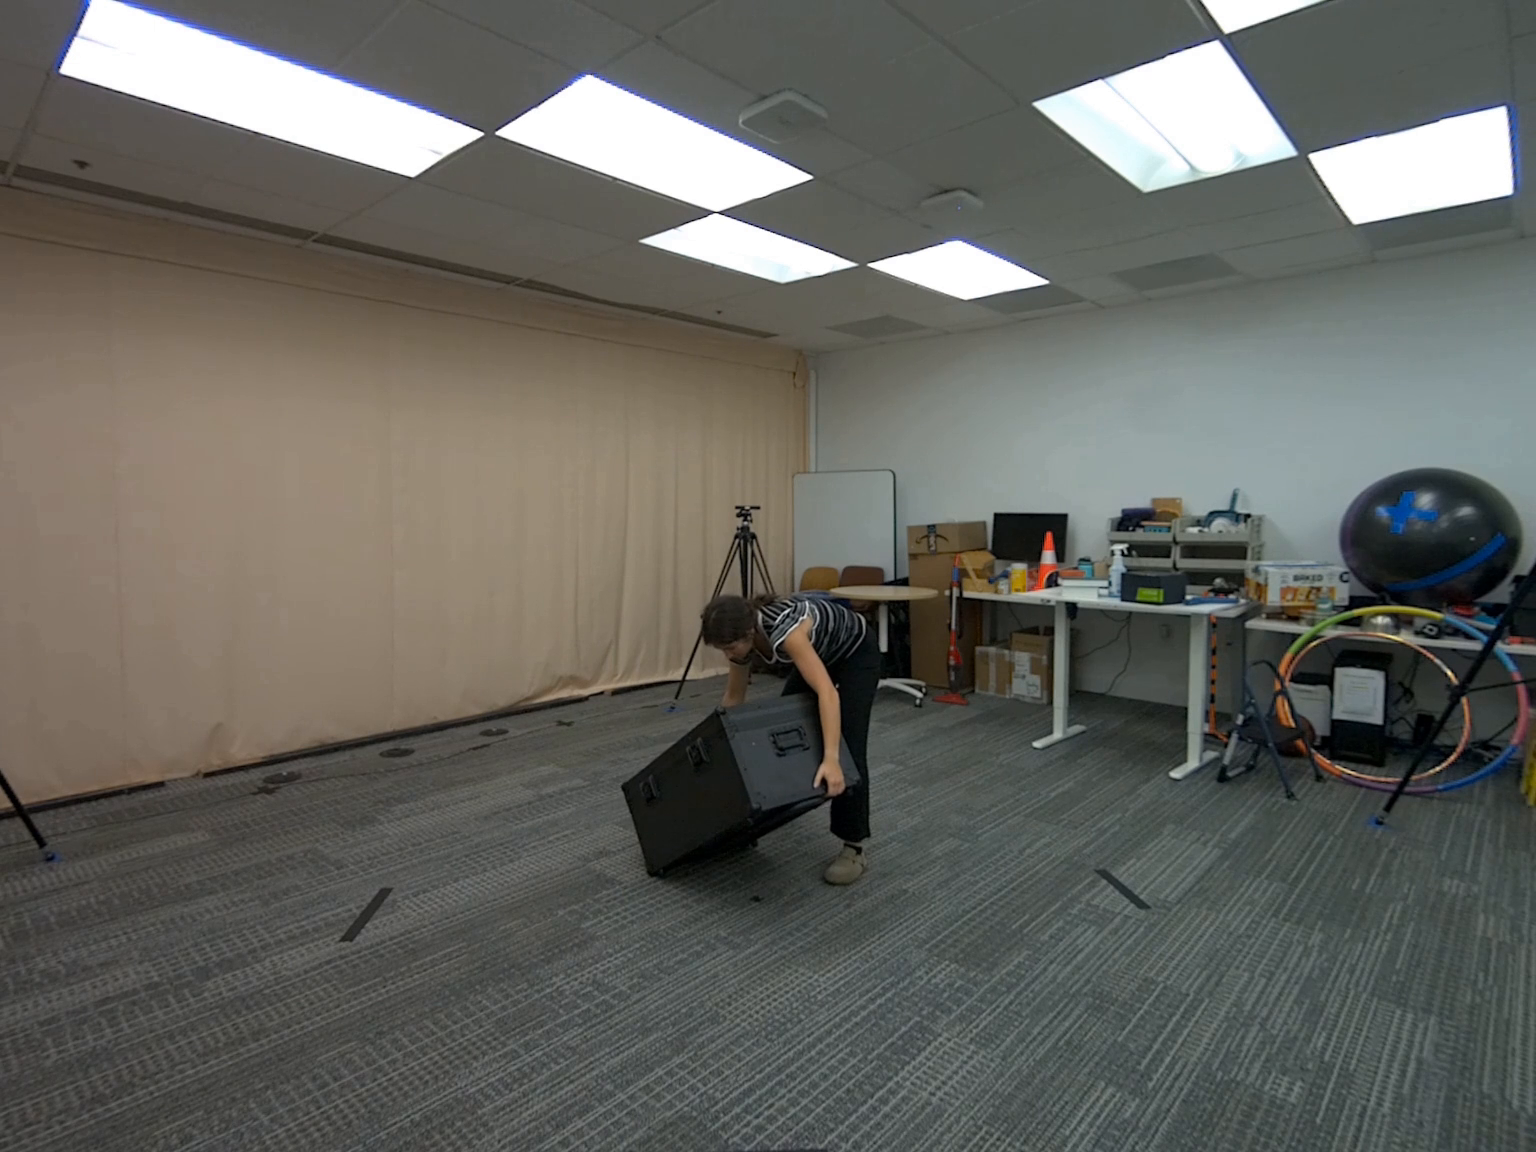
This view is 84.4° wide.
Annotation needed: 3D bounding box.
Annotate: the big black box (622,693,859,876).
[{"bbox_3d":[-0.137,0.799,3.135,0.506,0.404,0.869,-3,-27,-37],"label":"big black box"}]
